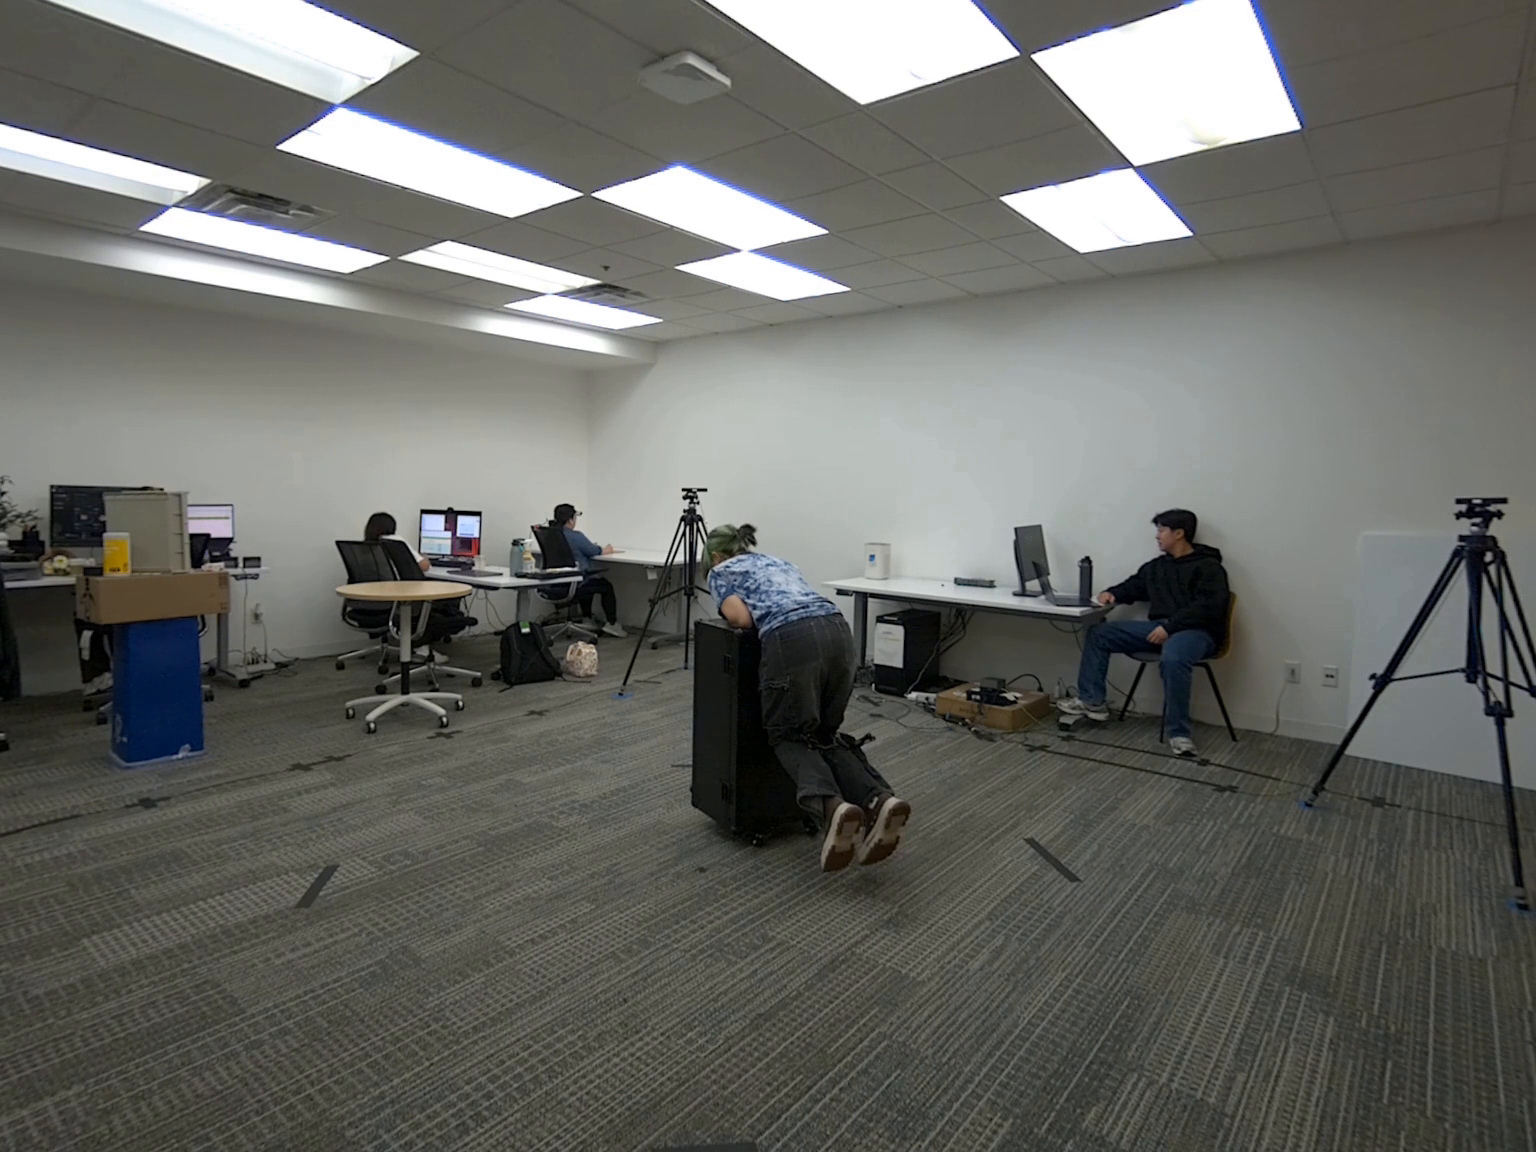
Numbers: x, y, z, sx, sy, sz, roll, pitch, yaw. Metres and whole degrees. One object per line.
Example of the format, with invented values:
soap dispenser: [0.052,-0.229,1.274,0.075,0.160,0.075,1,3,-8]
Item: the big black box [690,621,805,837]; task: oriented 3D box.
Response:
big black box: [-0.033,0.556,3.517,0.507,0.860,0.408,-1,3,-32]
